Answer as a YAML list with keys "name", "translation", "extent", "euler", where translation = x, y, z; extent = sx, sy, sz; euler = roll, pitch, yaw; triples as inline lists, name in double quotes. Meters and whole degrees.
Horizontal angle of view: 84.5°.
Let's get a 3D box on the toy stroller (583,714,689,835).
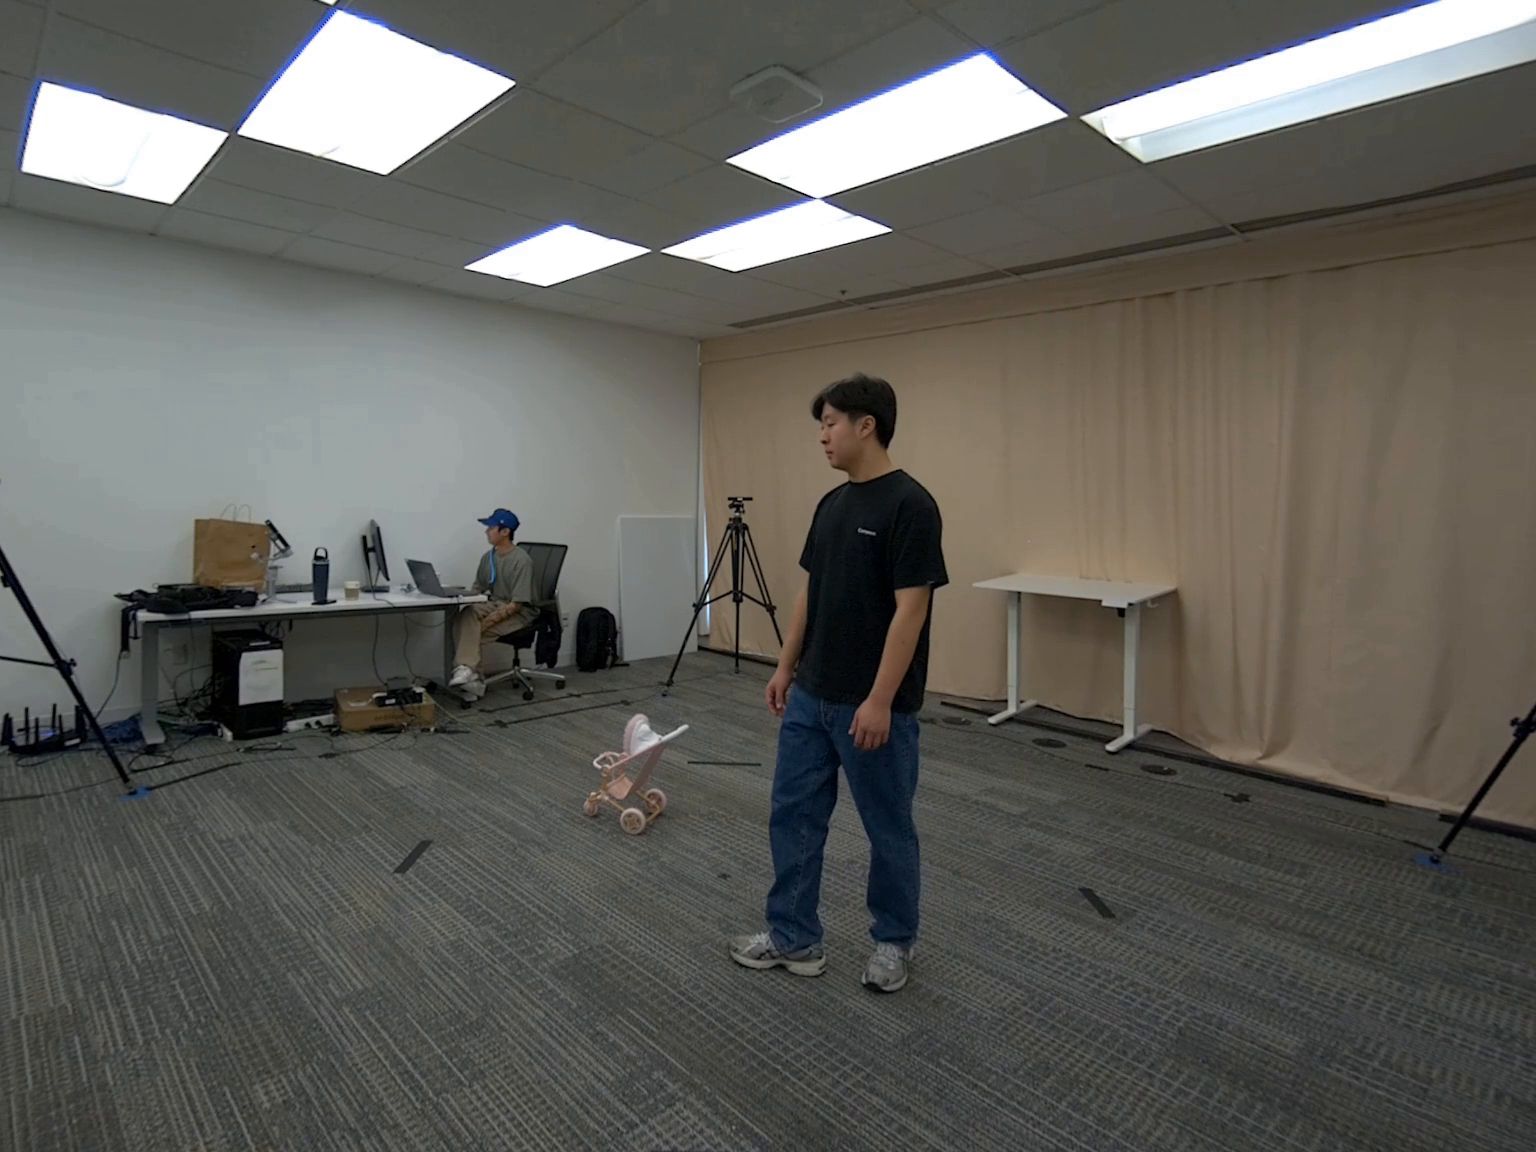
- name: "toy stroller"
  translation: [-0.590, 0.831, 3.602]
  extent: [0.348, 0.533, 0.277]
  euler: [20, 9, 19]
